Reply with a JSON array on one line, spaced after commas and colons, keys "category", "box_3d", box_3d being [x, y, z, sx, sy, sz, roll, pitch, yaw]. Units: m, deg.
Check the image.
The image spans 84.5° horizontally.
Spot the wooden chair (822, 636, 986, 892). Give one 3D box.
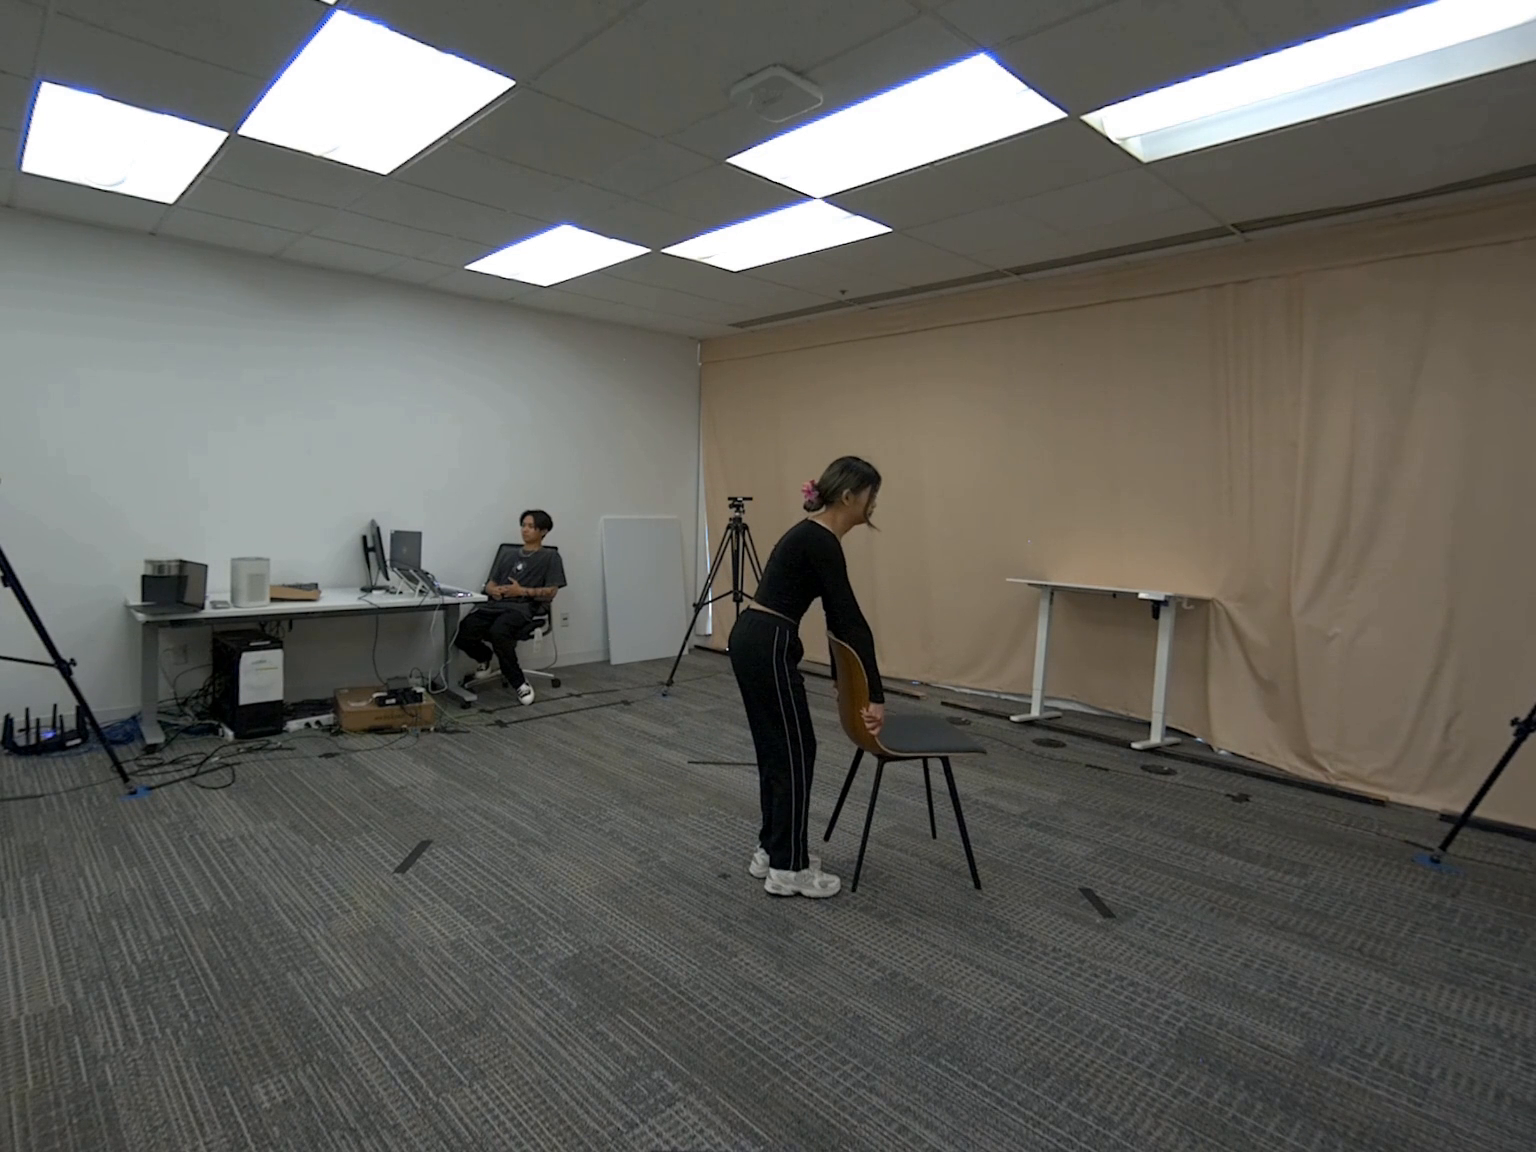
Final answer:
[{"category": "wooden chair", "box_3d": [0.483, 0.625, 3.049, 0.520, 0.875, 0.482, -3, 3, -8]}]
